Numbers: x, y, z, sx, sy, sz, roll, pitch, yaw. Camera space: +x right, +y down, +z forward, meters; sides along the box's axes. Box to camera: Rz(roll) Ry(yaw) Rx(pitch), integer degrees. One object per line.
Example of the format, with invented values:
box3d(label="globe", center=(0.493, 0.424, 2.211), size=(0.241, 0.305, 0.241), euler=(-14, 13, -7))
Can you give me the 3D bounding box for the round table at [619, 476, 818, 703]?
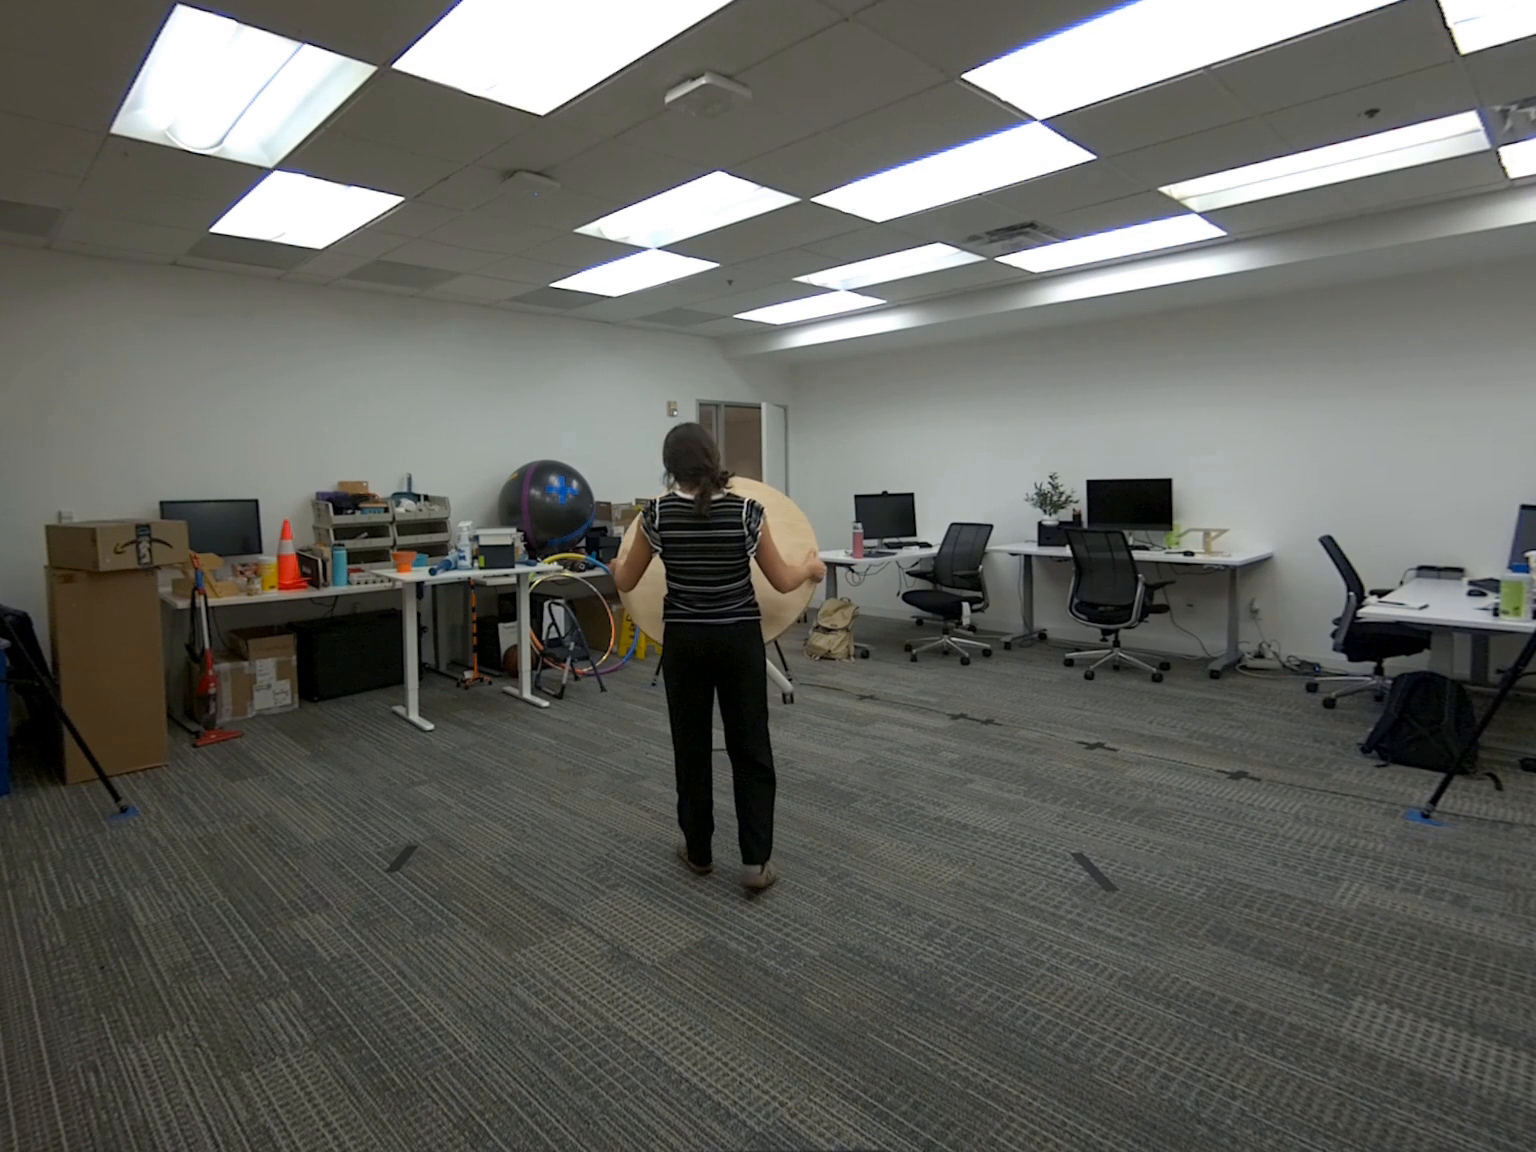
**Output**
box3d(label="round table", center=(-0.159, 0.139, 3.545), size=(0.769, 0.781, 0.772), euler=(0, -29, 6))
